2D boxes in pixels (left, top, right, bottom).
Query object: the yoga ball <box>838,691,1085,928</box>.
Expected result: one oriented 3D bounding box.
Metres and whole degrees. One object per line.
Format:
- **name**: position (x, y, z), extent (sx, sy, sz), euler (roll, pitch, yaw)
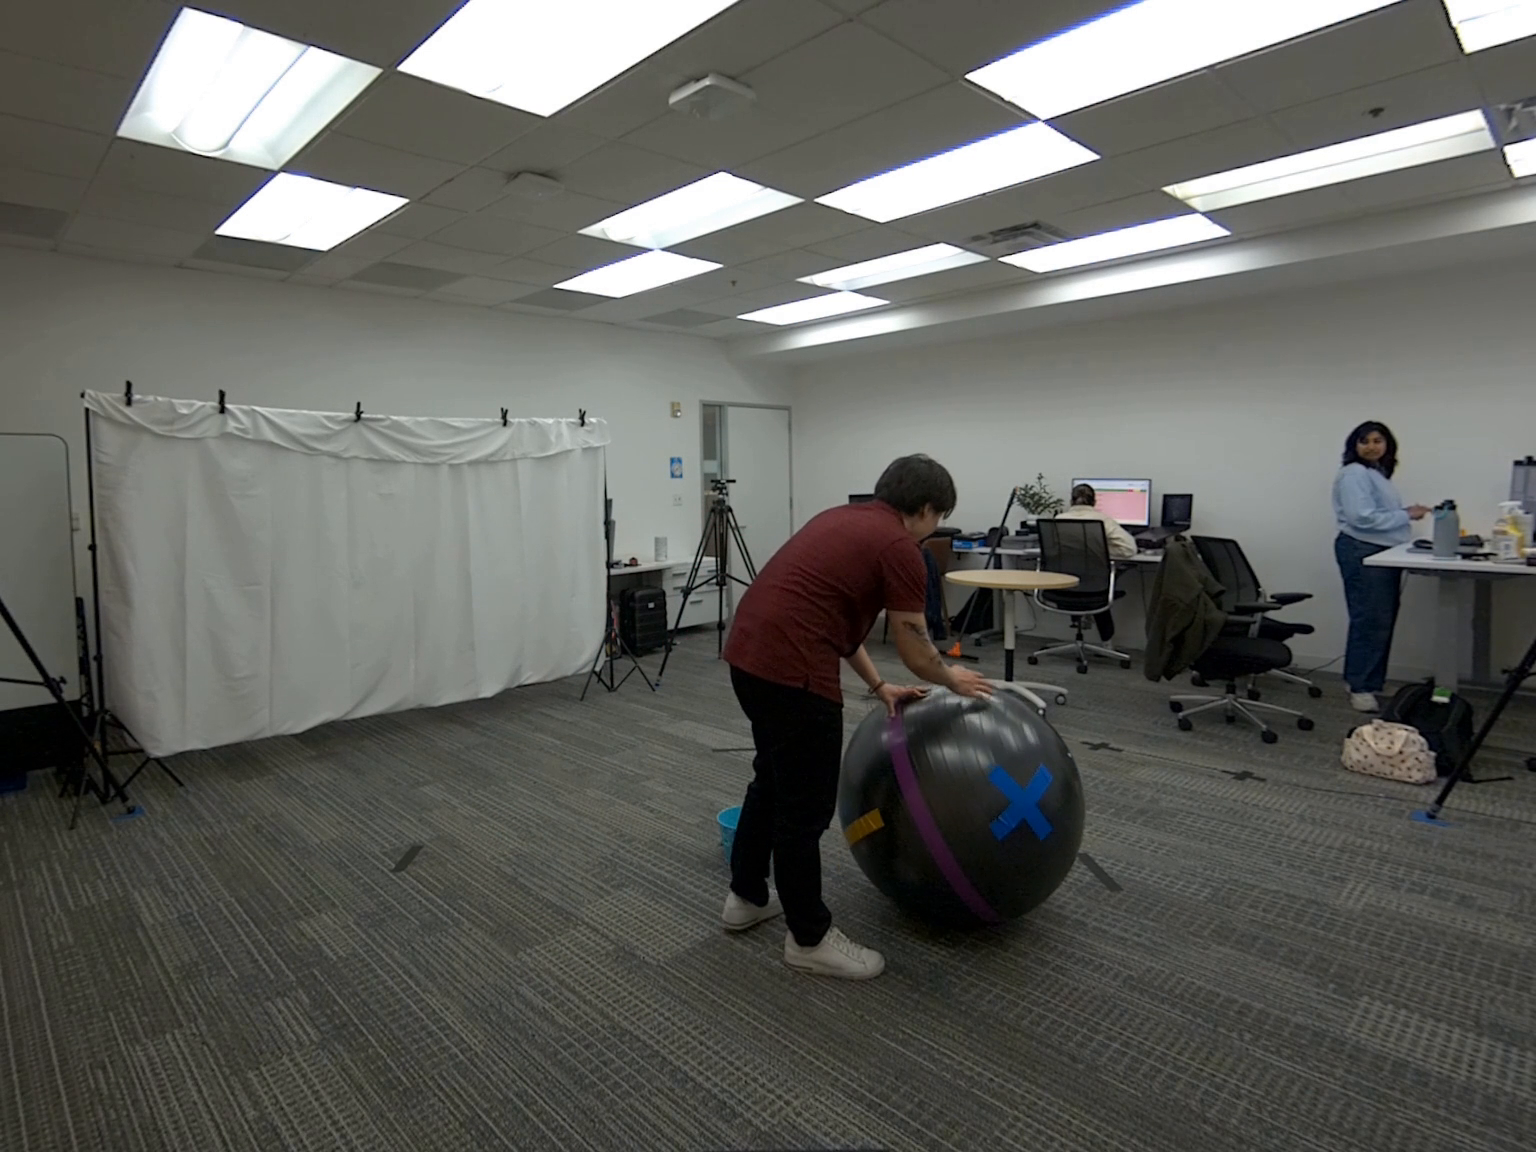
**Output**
- **yoga ball**: position (0.629, 0.721, 2.744), extent (0.757, 0.755, 0.762), euler (-1, 5, -2)
